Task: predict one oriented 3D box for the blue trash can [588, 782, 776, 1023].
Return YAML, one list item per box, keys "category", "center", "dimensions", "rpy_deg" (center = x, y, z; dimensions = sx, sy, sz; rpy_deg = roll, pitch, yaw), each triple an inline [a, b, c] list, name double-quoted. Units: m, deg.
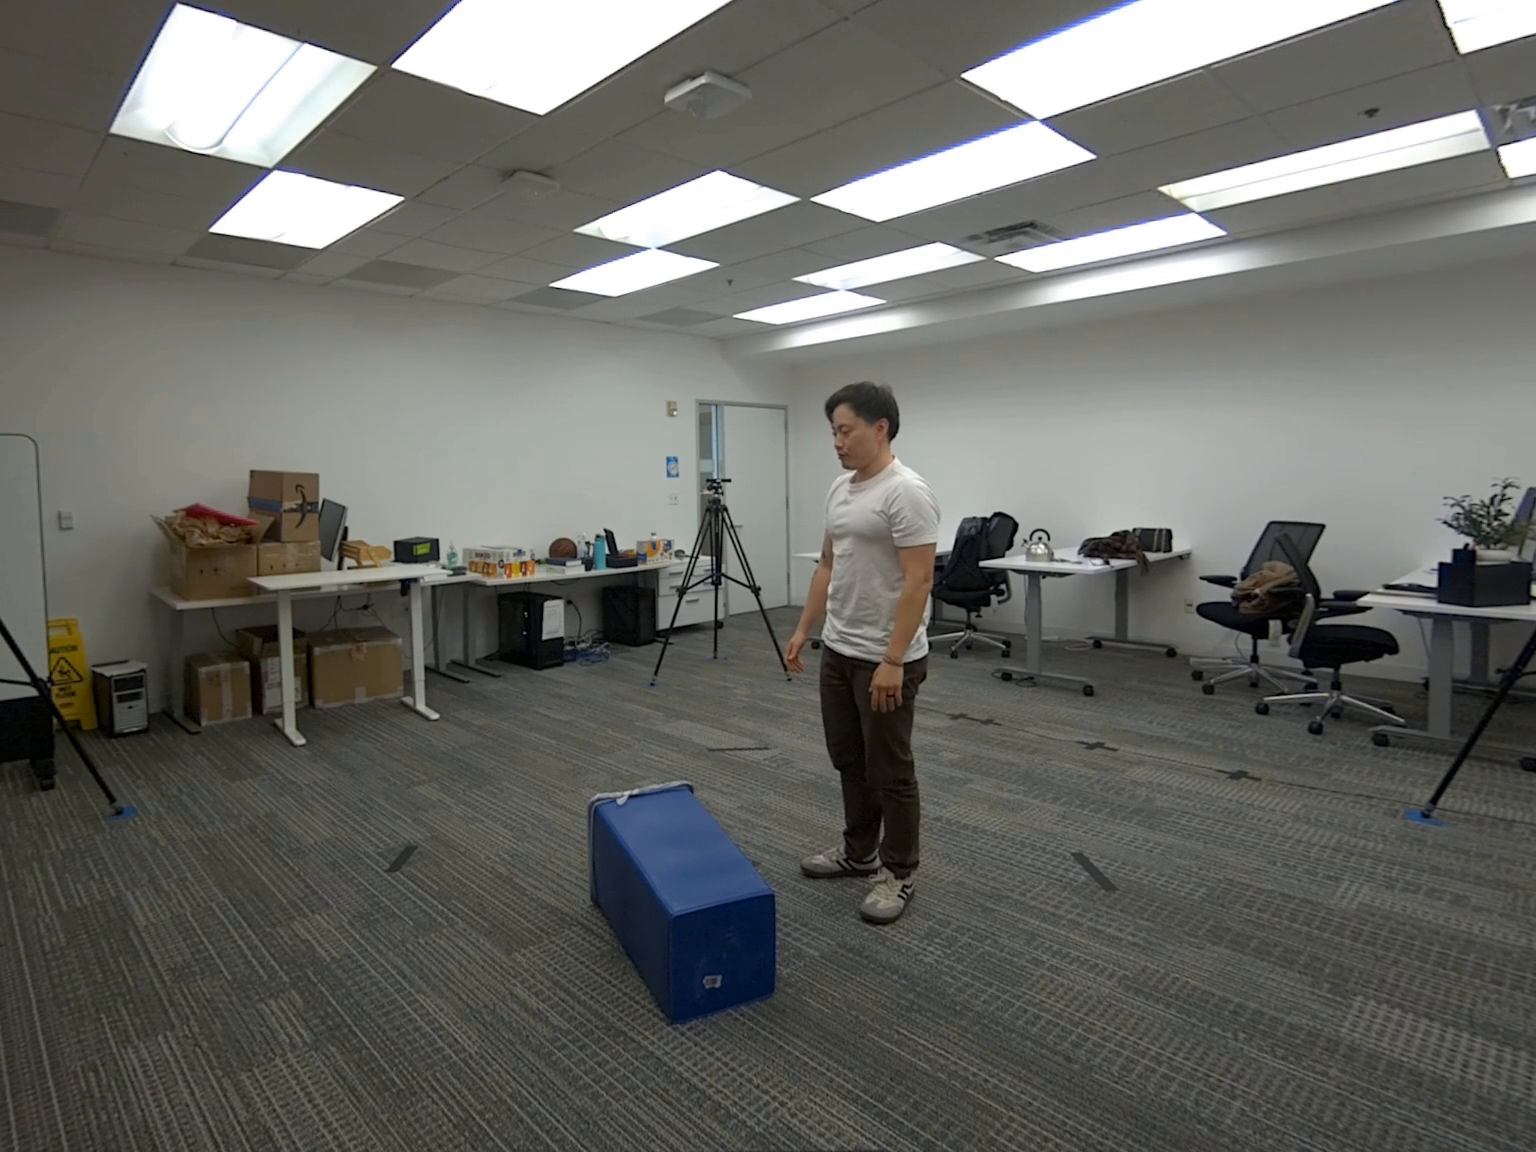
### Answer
- category: "blue trash can"
  center: [-0.262, 0.948, 2.558]
  dimensions: [0.366, 0.376, 0.733]
  rpy_deg: [-3, 9, -26]
